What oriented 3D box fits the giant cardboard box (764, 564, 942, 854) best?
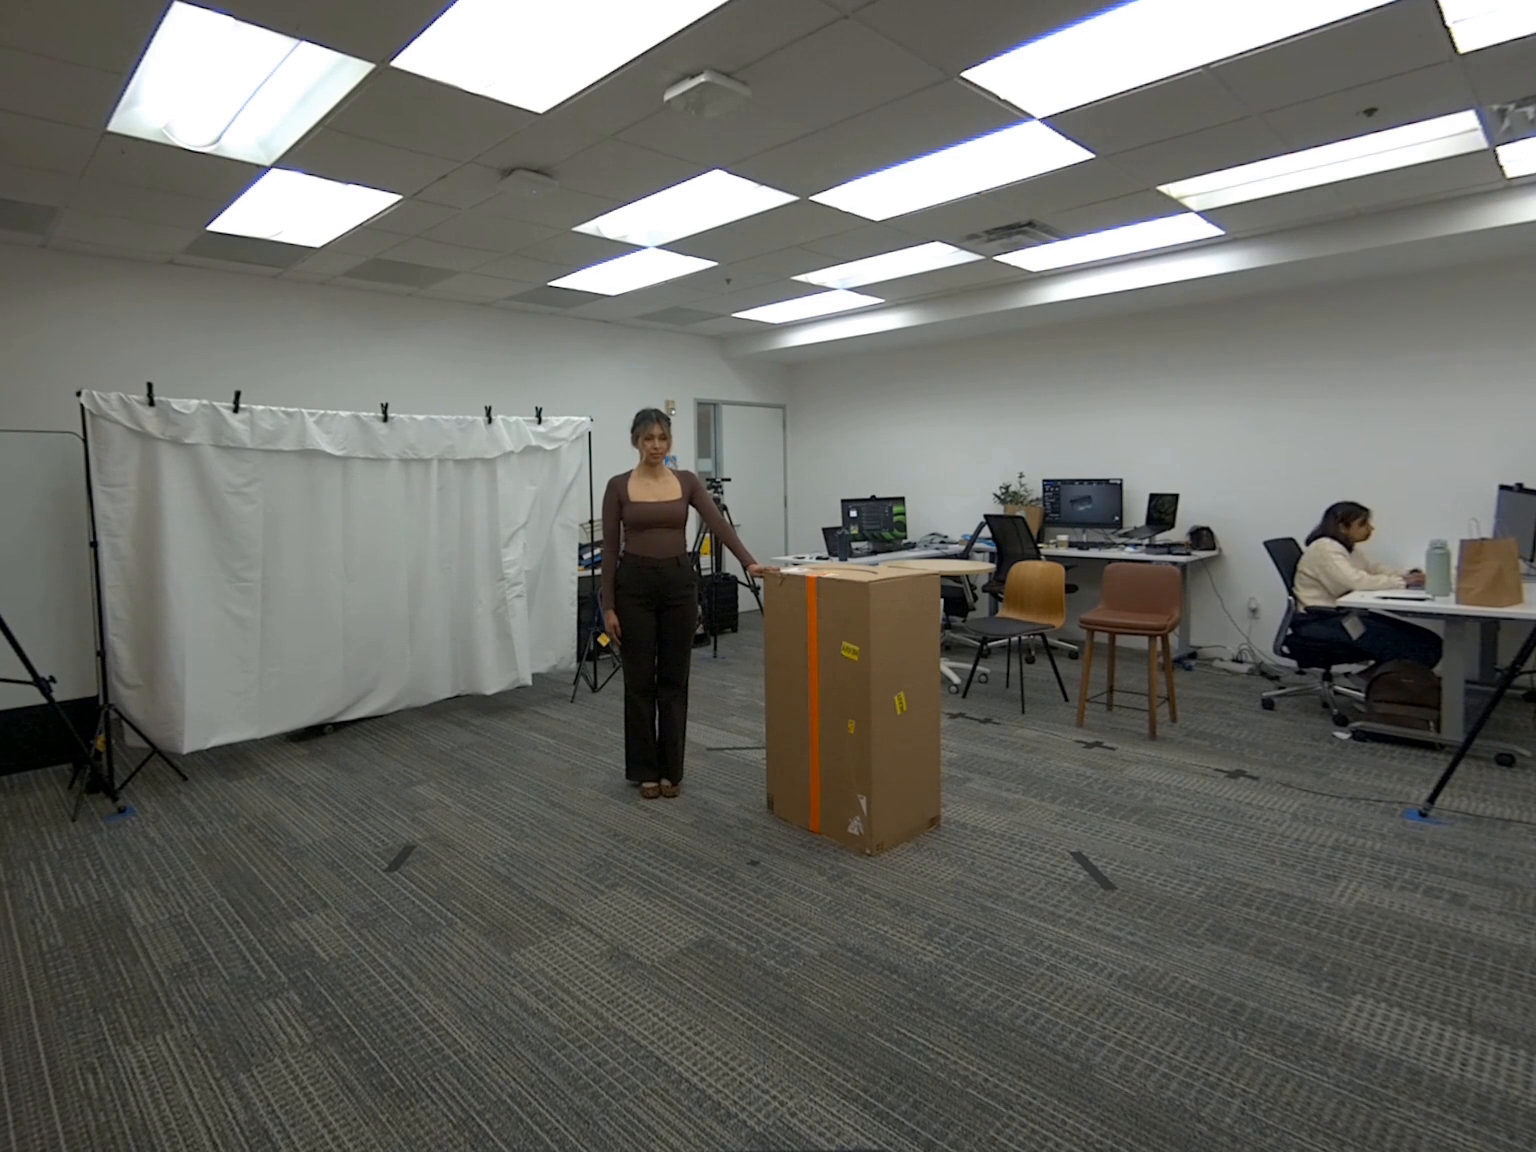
[{"bbox_3d":[0.335,0.487,3.456,0.435,1.023,0.602,-5,6,-39],"label":"giant cardboard box"}]
